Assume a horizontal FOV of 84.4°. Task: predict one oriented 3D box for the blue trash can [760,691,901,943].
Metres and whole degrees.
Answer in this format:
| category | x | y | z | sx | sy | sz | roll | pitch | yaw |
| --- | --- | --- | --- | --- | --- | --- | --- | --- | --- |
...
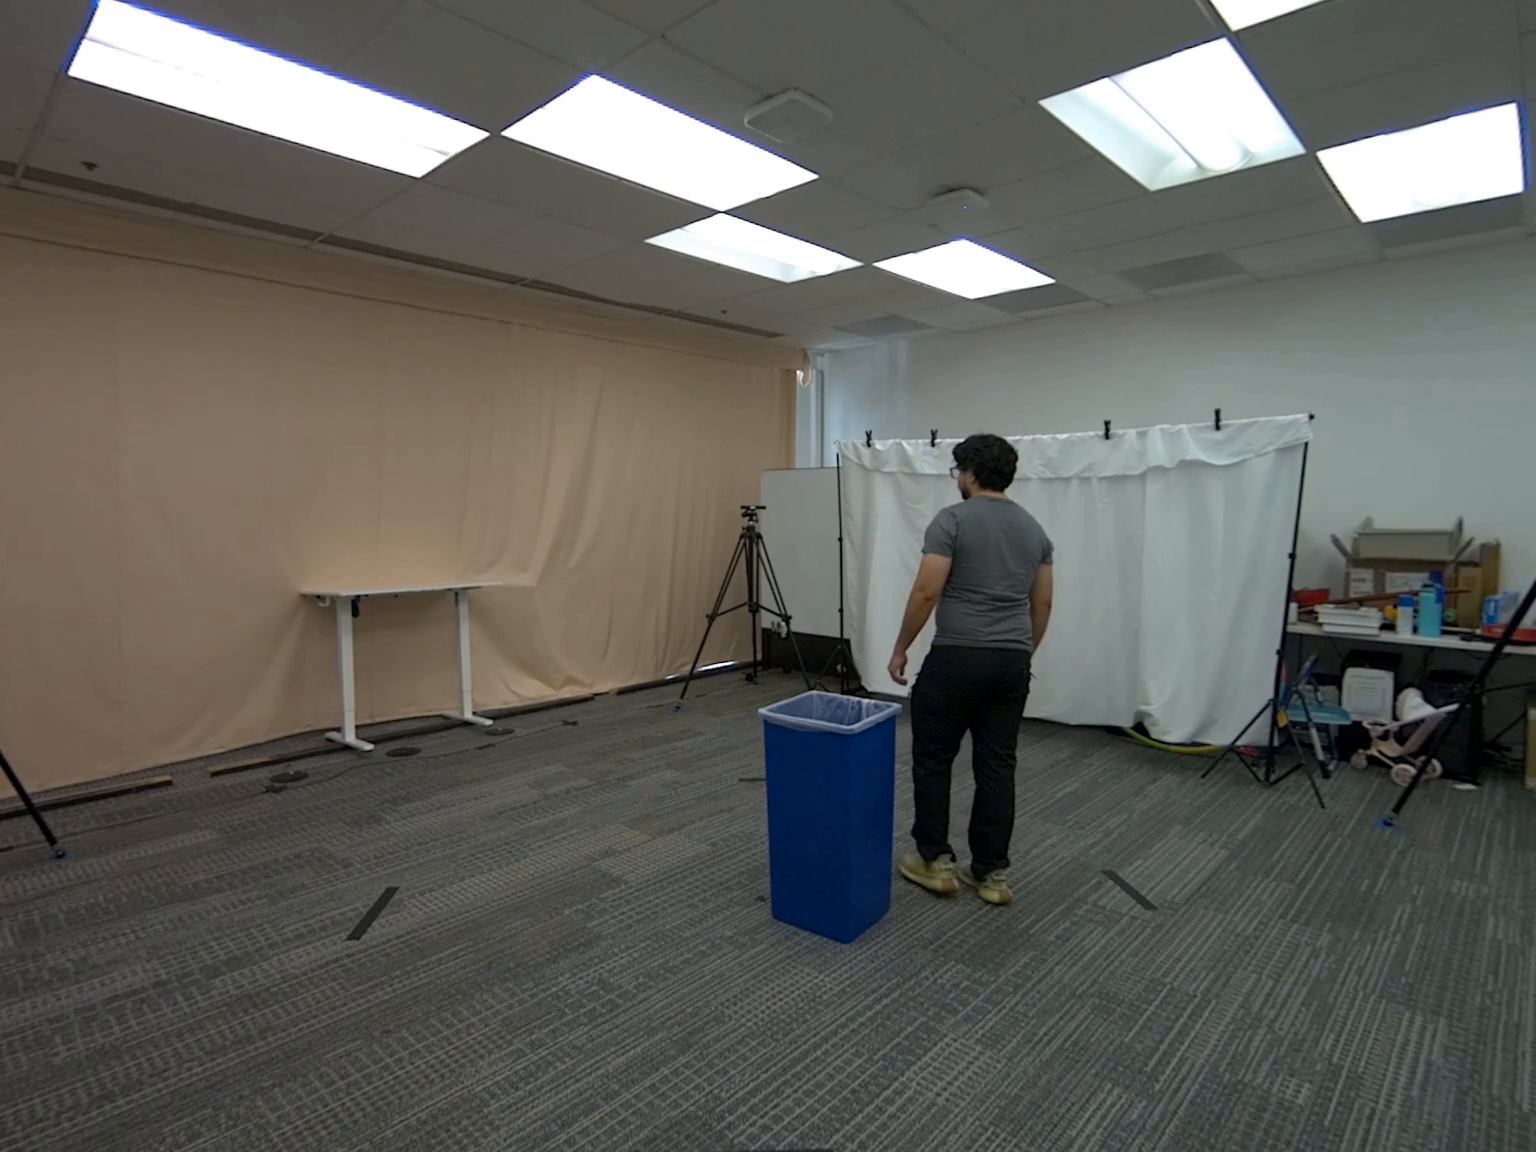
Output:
| category | x | y | z | sx | sy | sz | roll | pitch | yaw |
| --- | --- | --- | --- | --- | --- | --- | --- | --- | --- |
| blue trash can | 0.213 | 0.797 | 2.844 | 0.390 | 0.712 | 0.363 | 2 | 4 | 37 |
